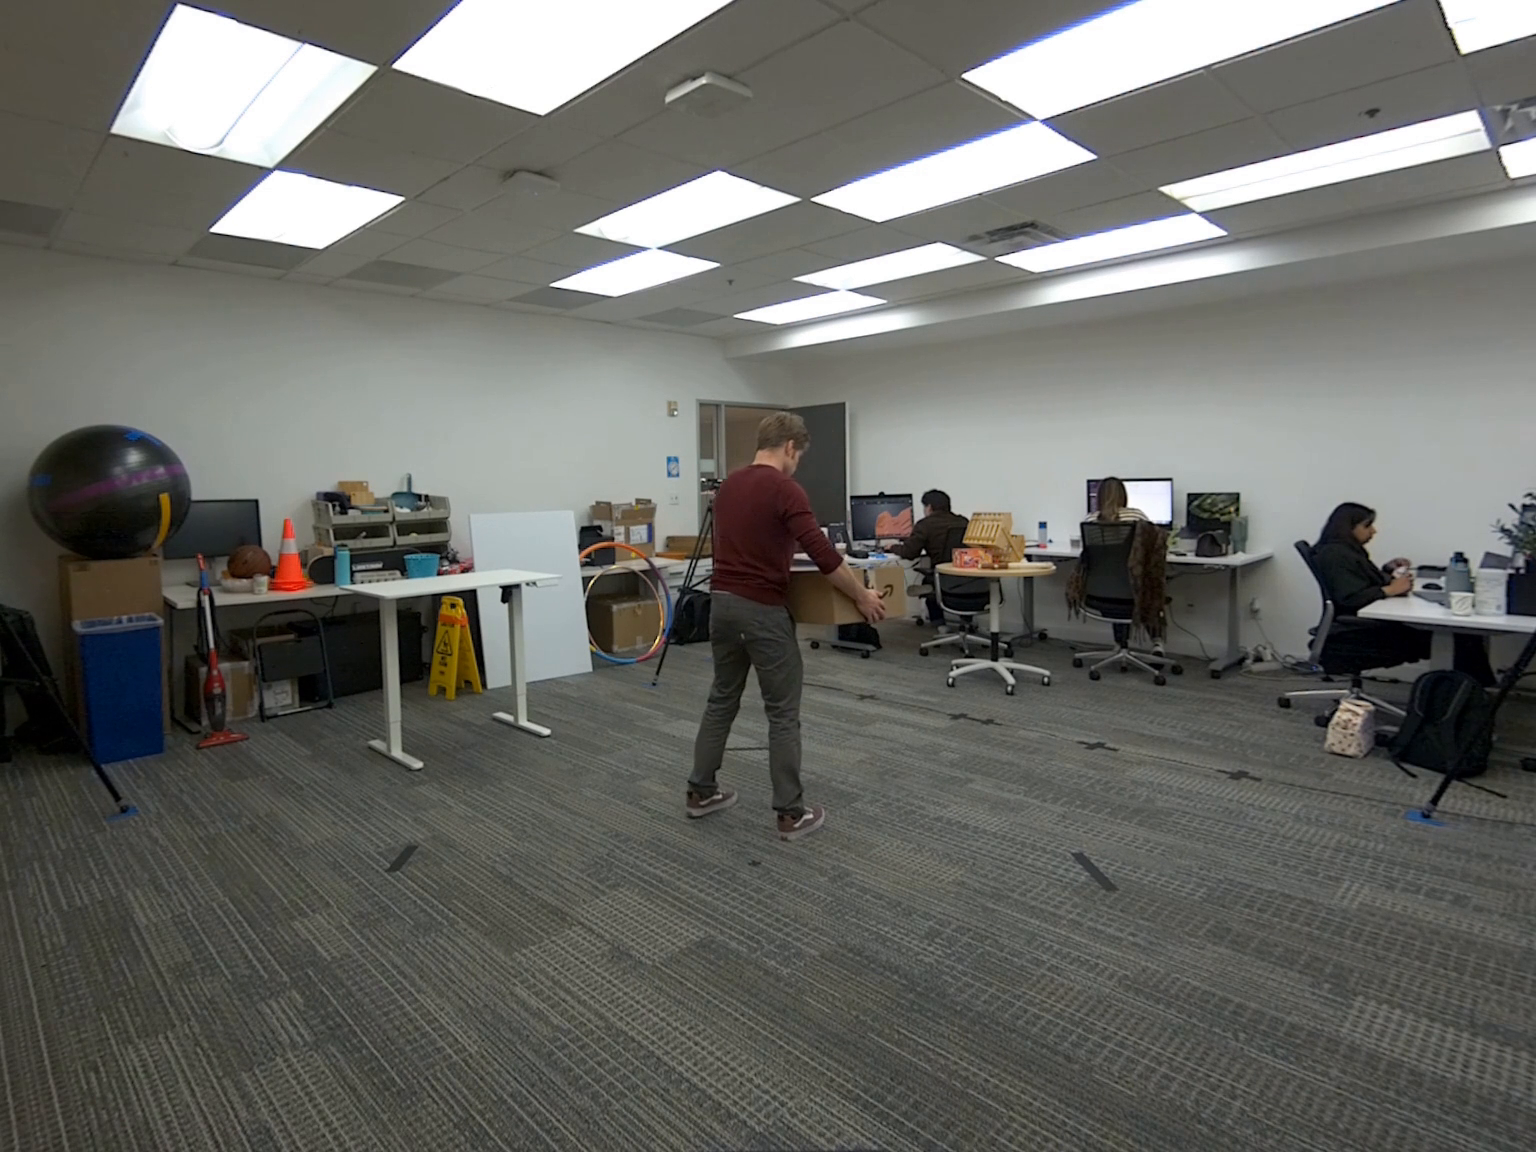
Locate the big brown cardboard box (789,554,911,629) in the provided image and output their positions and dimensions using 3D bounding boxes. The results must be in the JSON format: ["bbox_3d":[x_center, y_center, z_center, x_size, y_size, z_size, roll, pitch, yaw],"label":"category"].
[{"bbox_3d":[0.214,0.071,3.624,0.406,0.233,0.606,-5,4,-41],"label":"big brown cardboard box"}]
